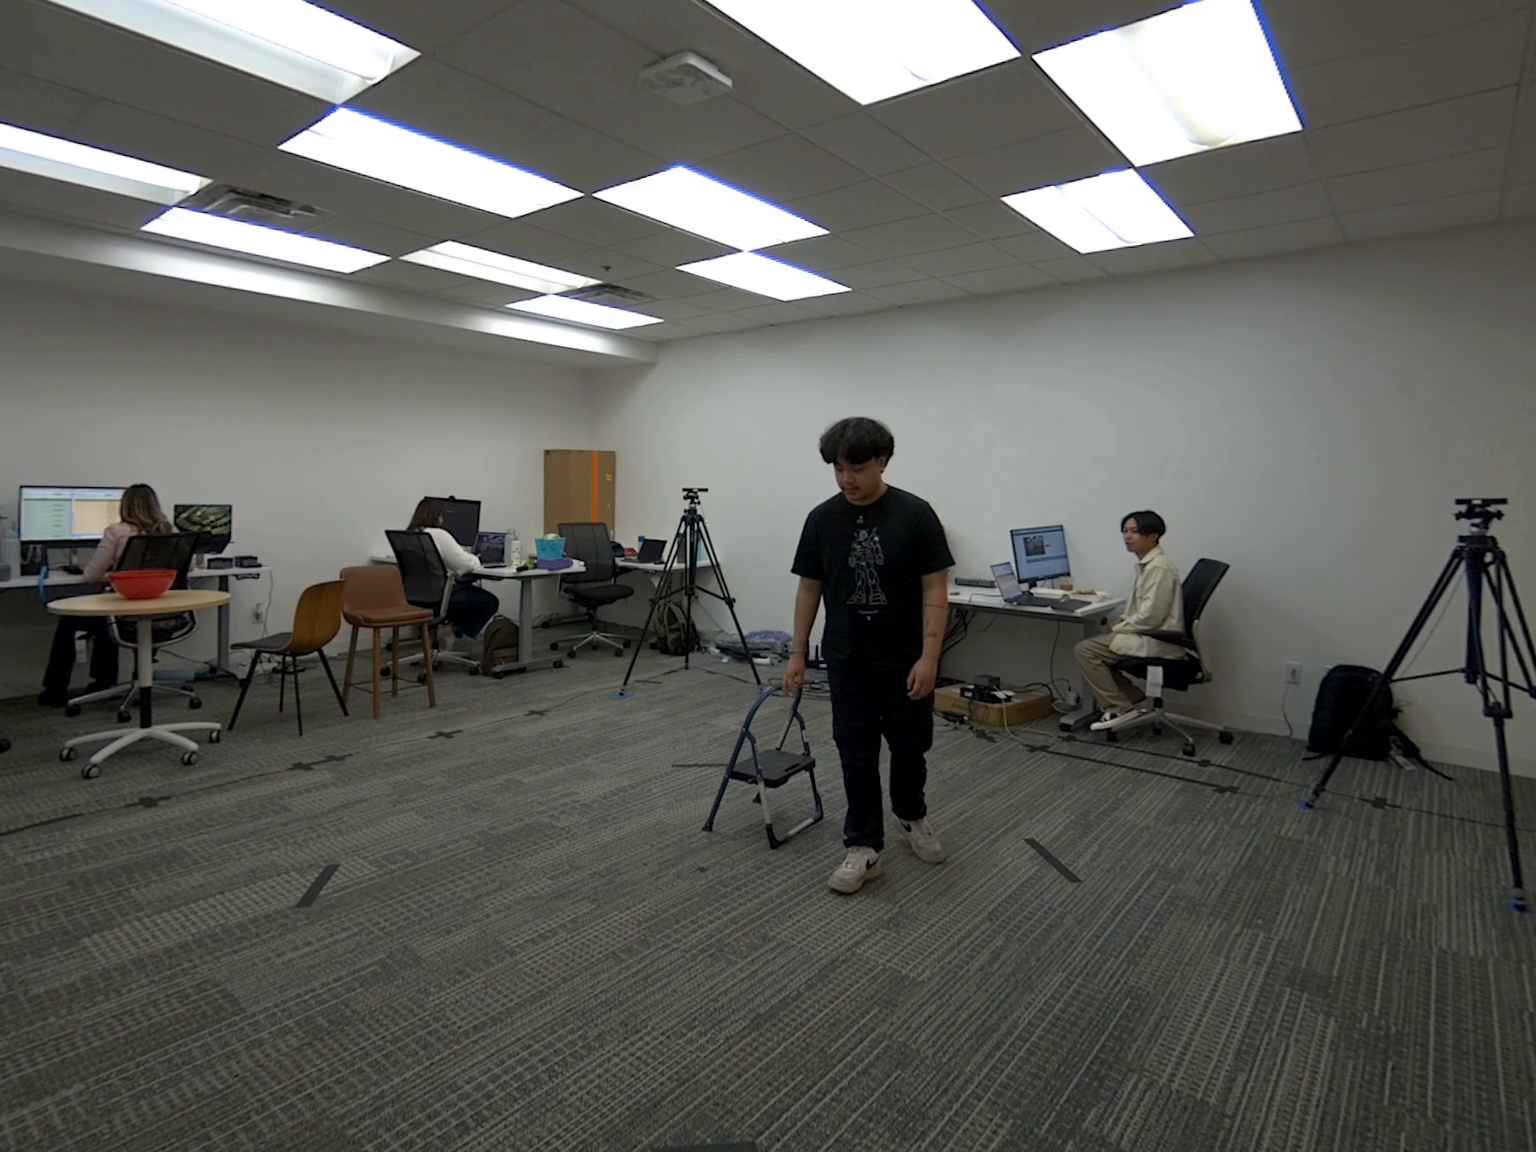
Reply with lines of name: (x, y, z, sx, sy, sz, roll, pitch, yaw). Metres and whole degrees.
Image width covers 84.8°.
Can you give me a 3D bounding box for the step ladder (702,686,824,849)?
step ladder: (-0.019, 0.727, 3.537, 0.360, 0.604, 0.419, 3, 4, 32)
